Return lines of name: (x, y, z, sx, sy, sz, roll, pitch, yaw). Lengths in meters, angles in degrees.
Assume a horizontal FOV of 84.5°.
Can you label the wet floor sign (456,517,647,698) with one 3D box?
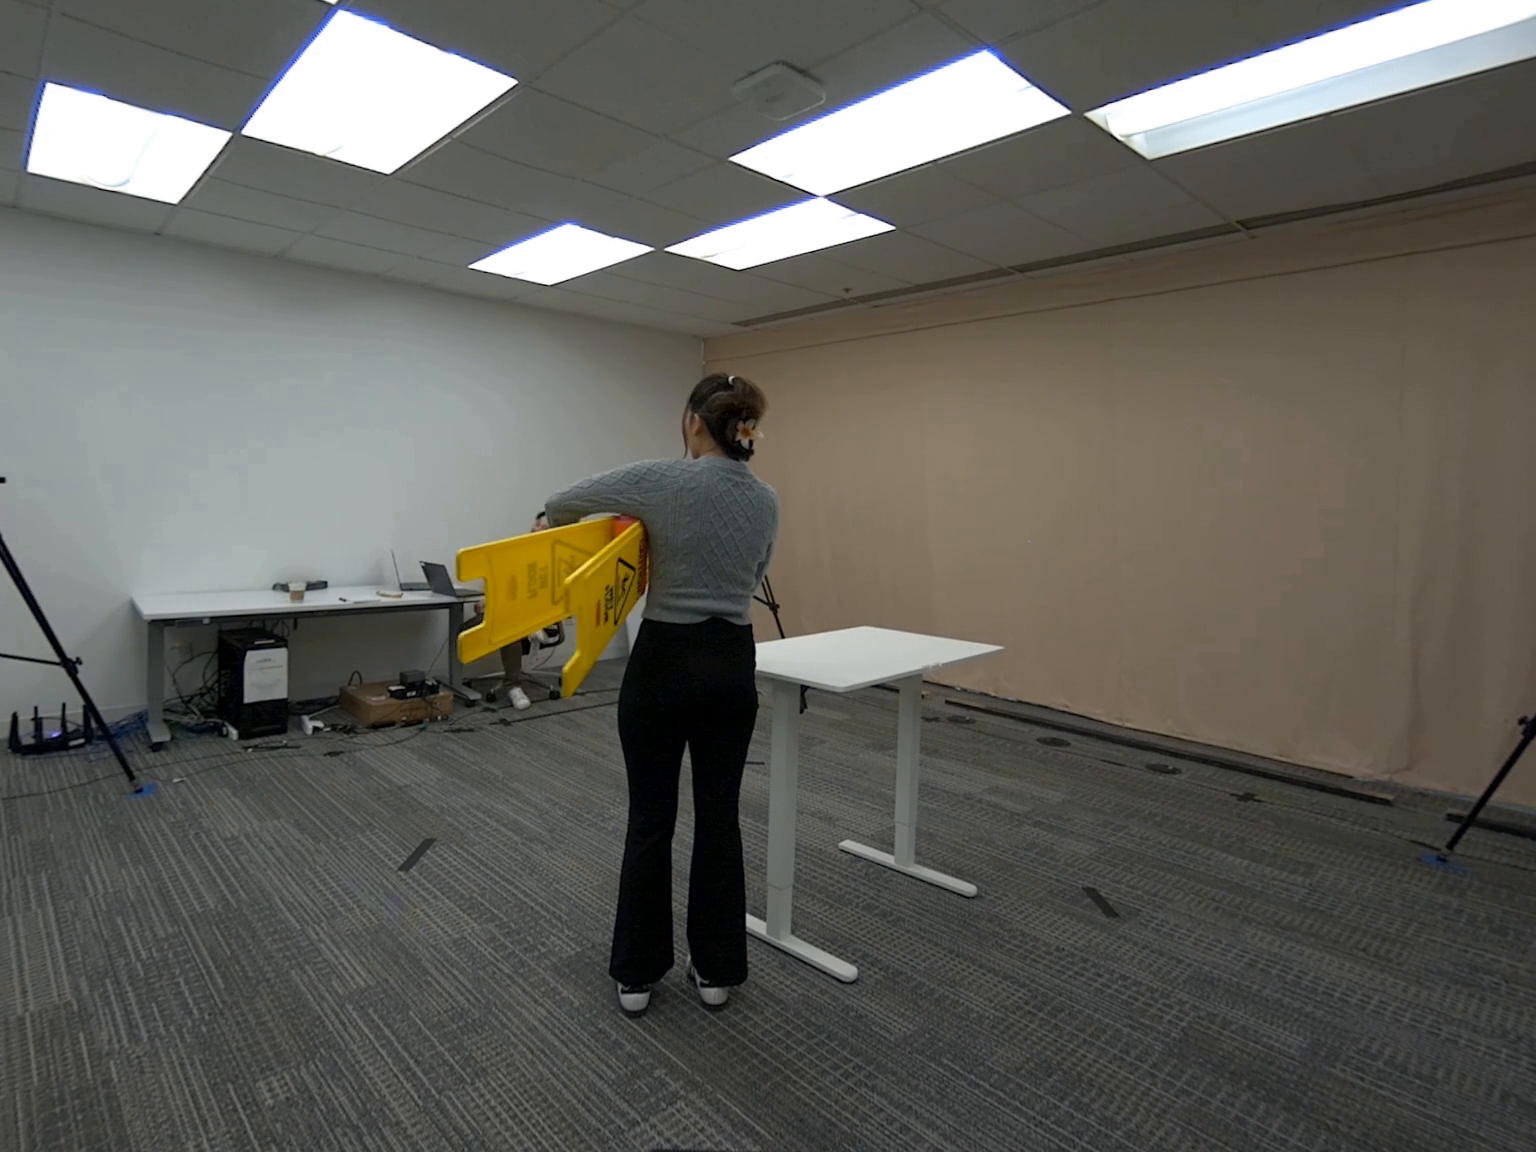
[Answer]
wet floor sign: (-0.457, 0.013, 2.100, 0.295, 0.278, 0.643, 12, 23, 18)
